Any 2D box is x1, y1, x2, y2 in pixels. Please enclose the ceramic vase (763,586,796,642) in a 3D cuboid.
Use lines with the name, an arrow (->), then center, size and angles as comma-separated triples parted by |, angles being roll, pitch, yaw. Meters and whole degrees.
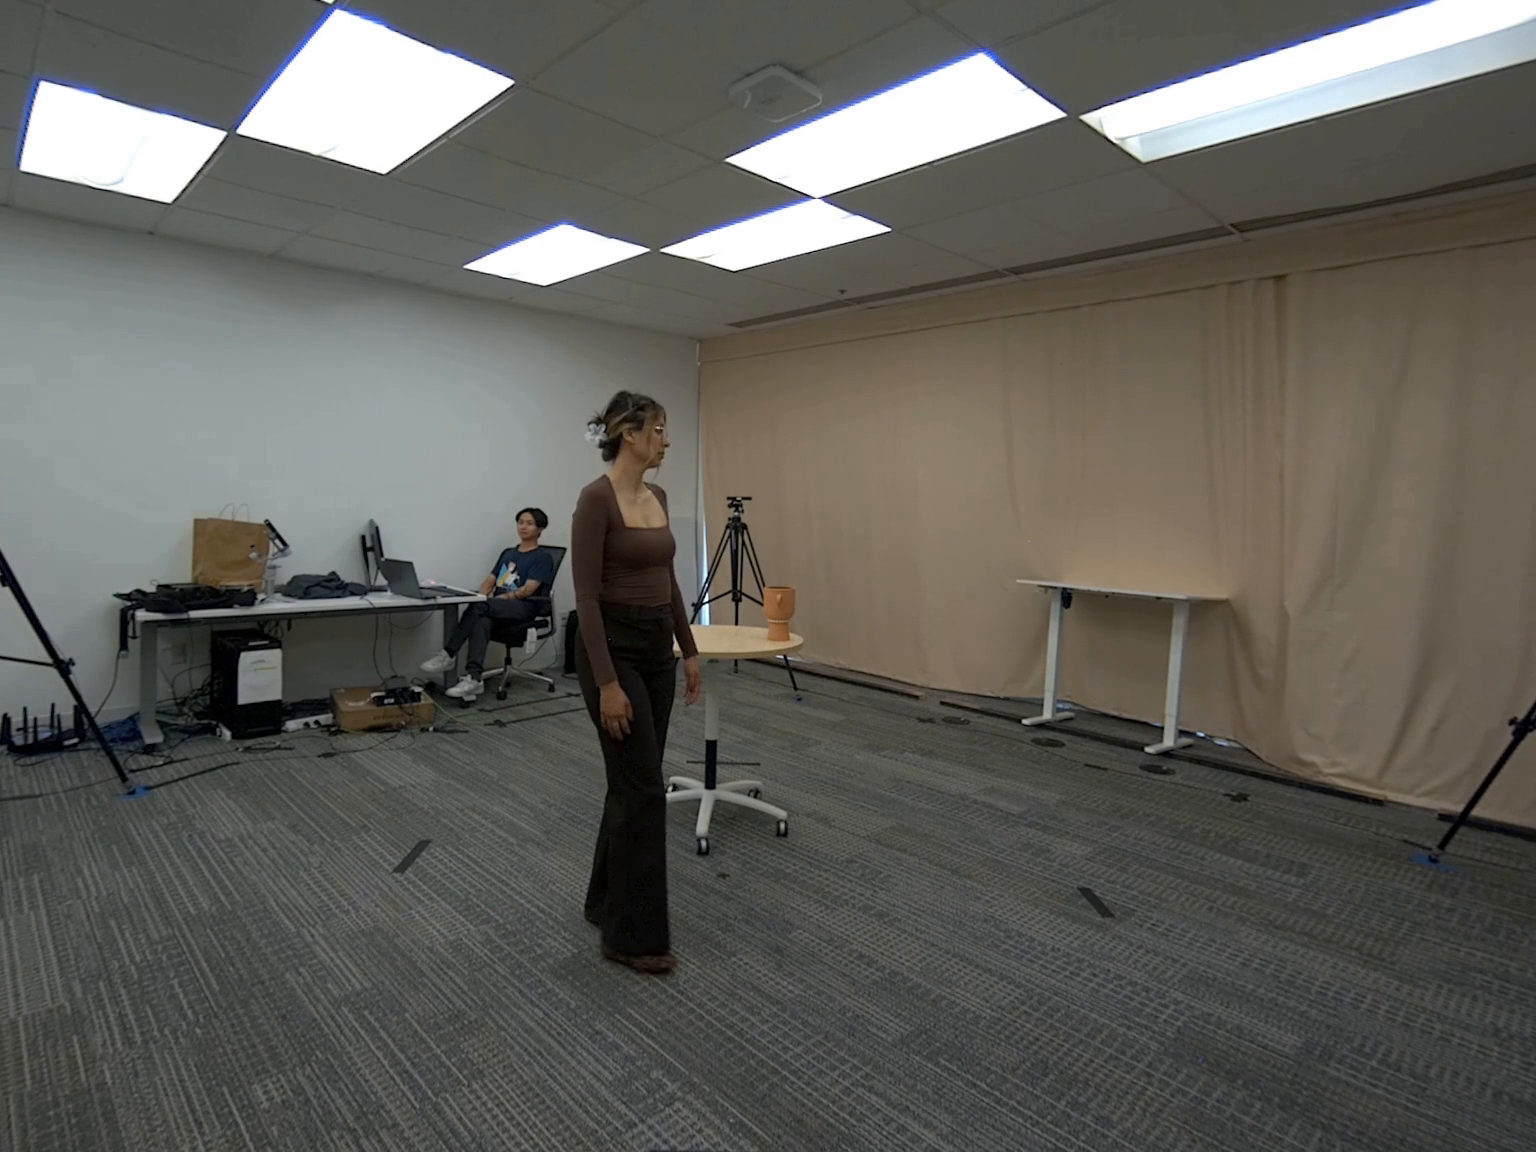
ceramic vase -> 0.037, 0.158, 3.581 | 0.138, 0.219, 0.155 | 4, 5, 42
